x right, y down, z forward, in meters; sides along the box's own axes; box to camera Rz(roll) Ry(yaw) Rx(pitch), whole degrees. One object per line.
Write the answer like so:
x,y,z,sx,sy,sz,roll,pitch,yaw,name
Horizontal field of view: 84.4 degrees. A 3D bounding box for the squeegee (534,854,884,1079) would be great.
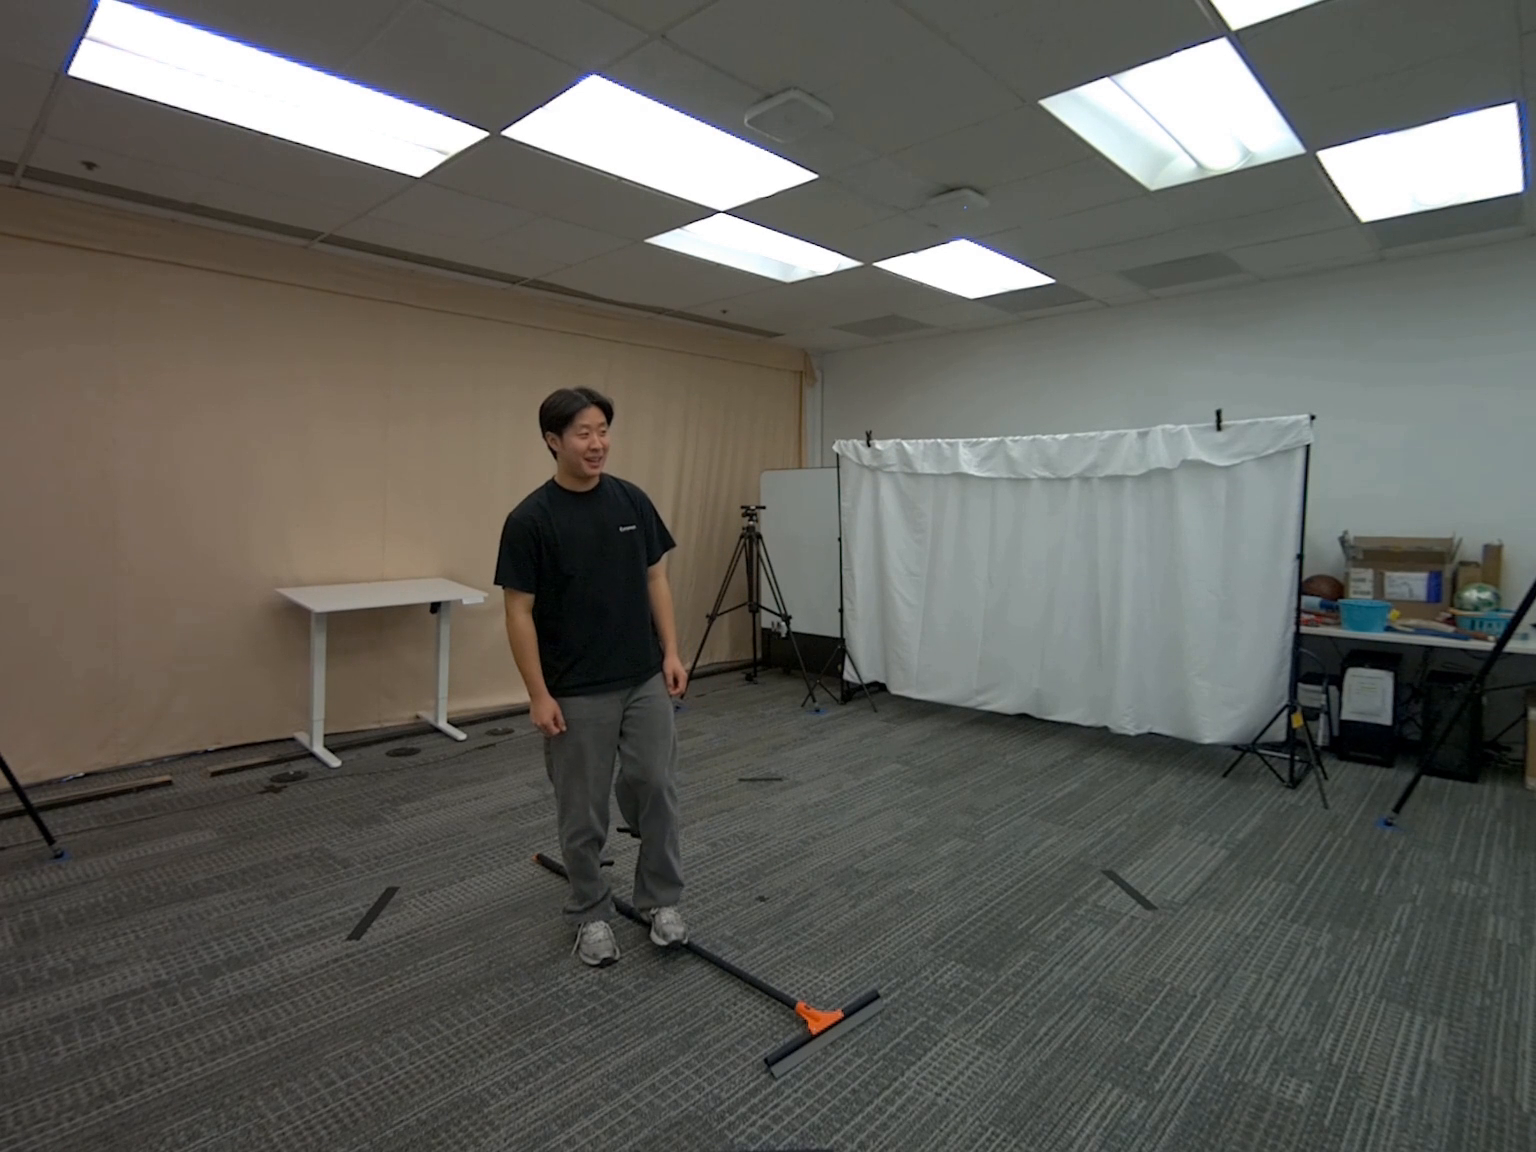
-0.368,1.133,2.752,0.424,0.053,1.588,-2,4,-43,squeegee
